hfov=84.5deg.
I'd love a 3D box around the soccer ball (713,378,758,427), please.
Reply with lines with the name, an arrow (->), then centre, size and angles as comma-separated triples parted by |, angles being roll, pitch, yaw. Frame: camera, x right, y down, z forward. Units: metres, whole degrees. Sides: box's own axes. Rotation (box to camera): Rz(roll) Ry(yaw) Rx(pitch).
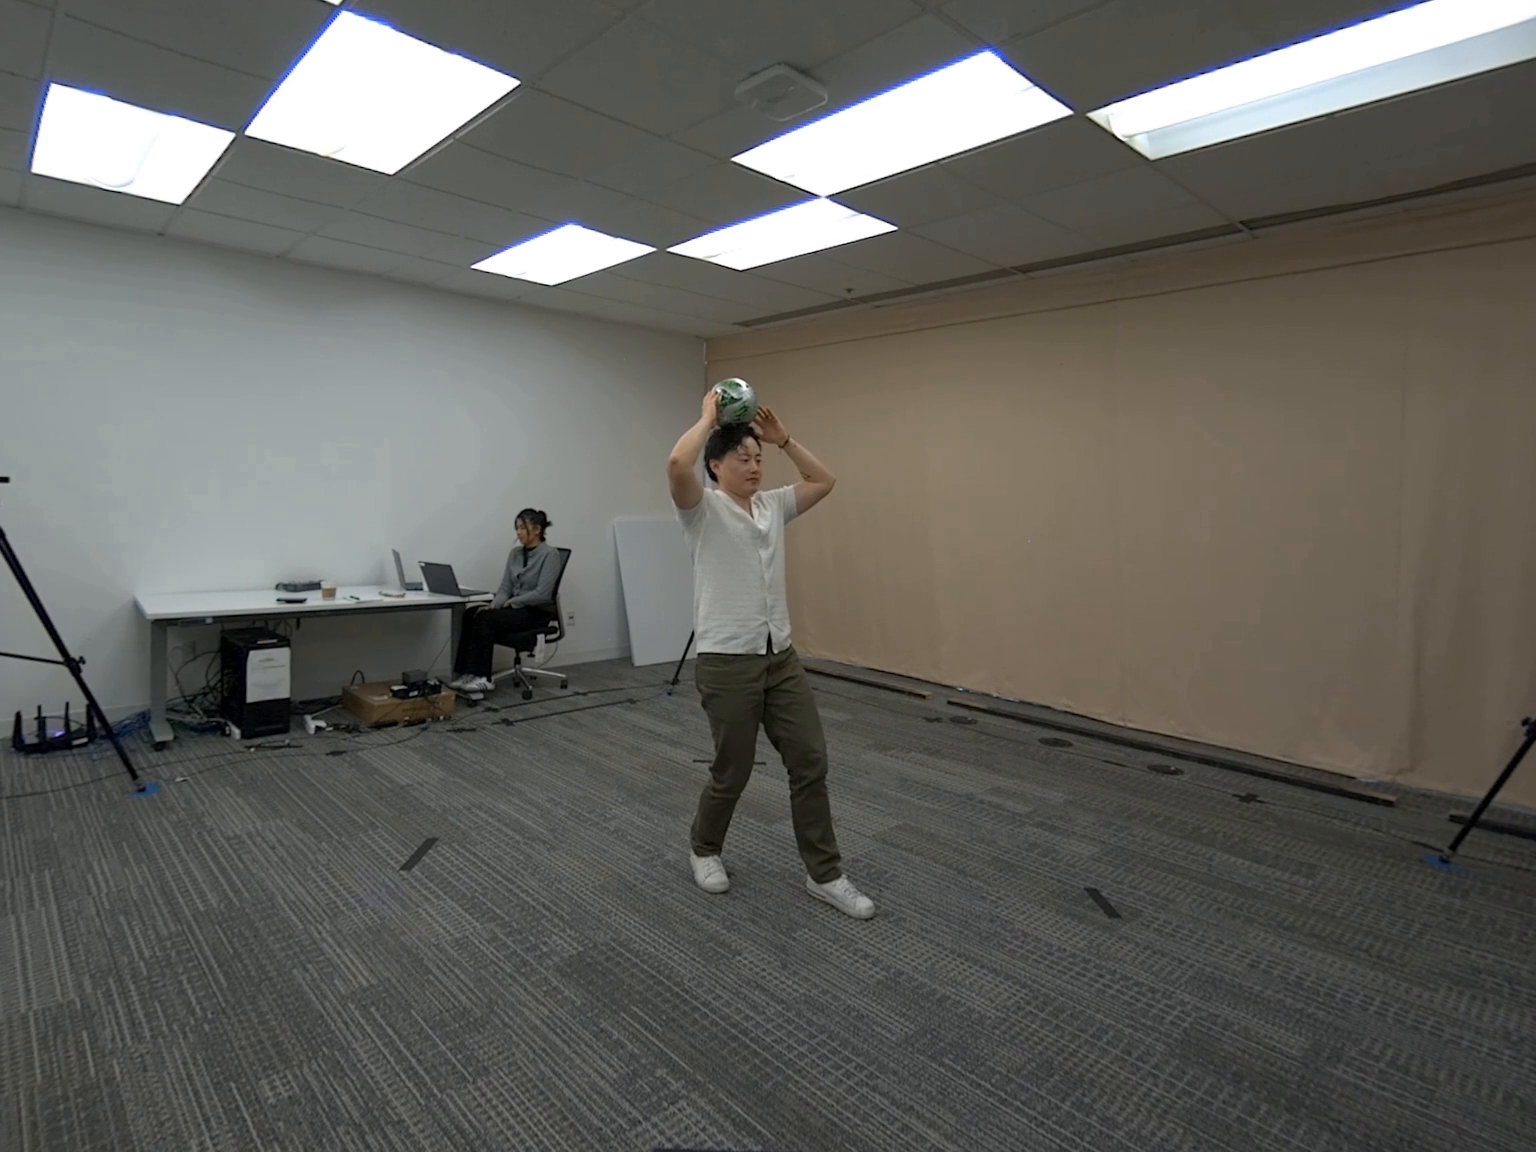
soccer ball -> -0.145, -0.612, 3.029 | 0.187, 0.187, 0.188 | 1, 4, -1
